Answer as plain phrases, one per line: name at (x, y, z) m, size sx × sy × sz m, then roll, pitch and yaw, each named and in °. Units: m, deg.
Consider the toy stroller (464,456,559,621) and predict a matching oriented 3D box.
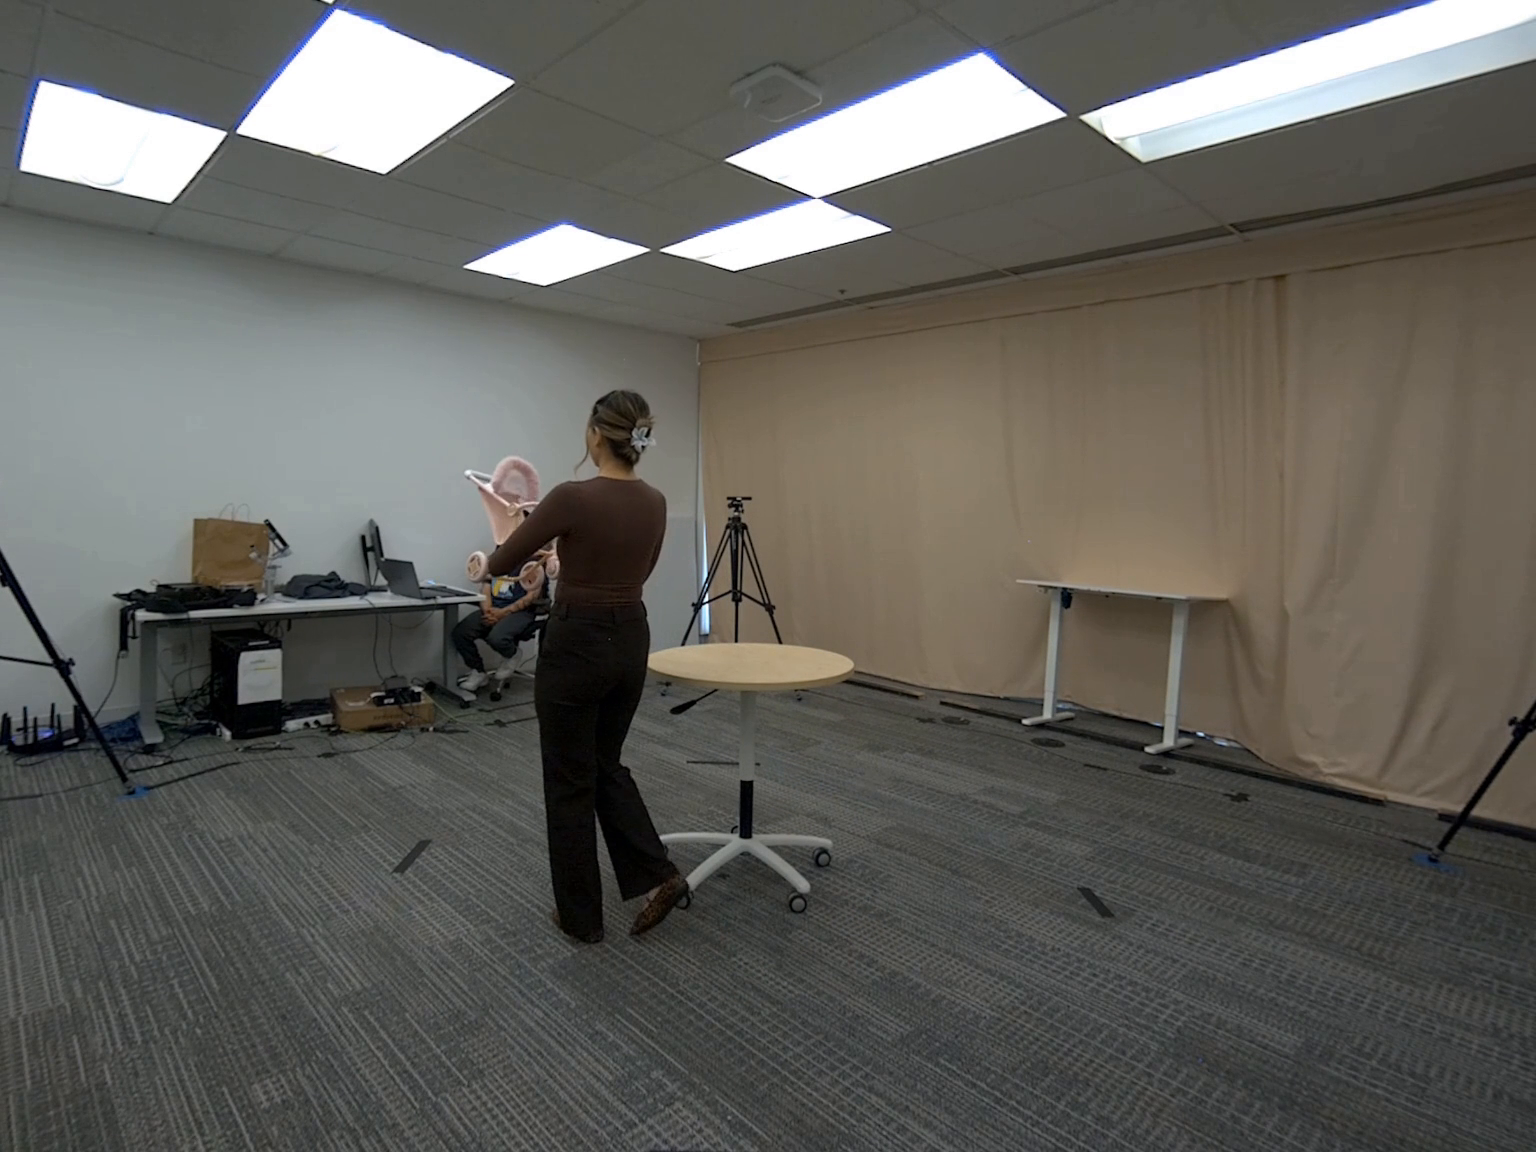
toy stroller at (-0.888, -0.193, 2.989) m, size 0.345 × 0.544 × 0.274 m, roll -26°, pitch -23°, yaw 32°
